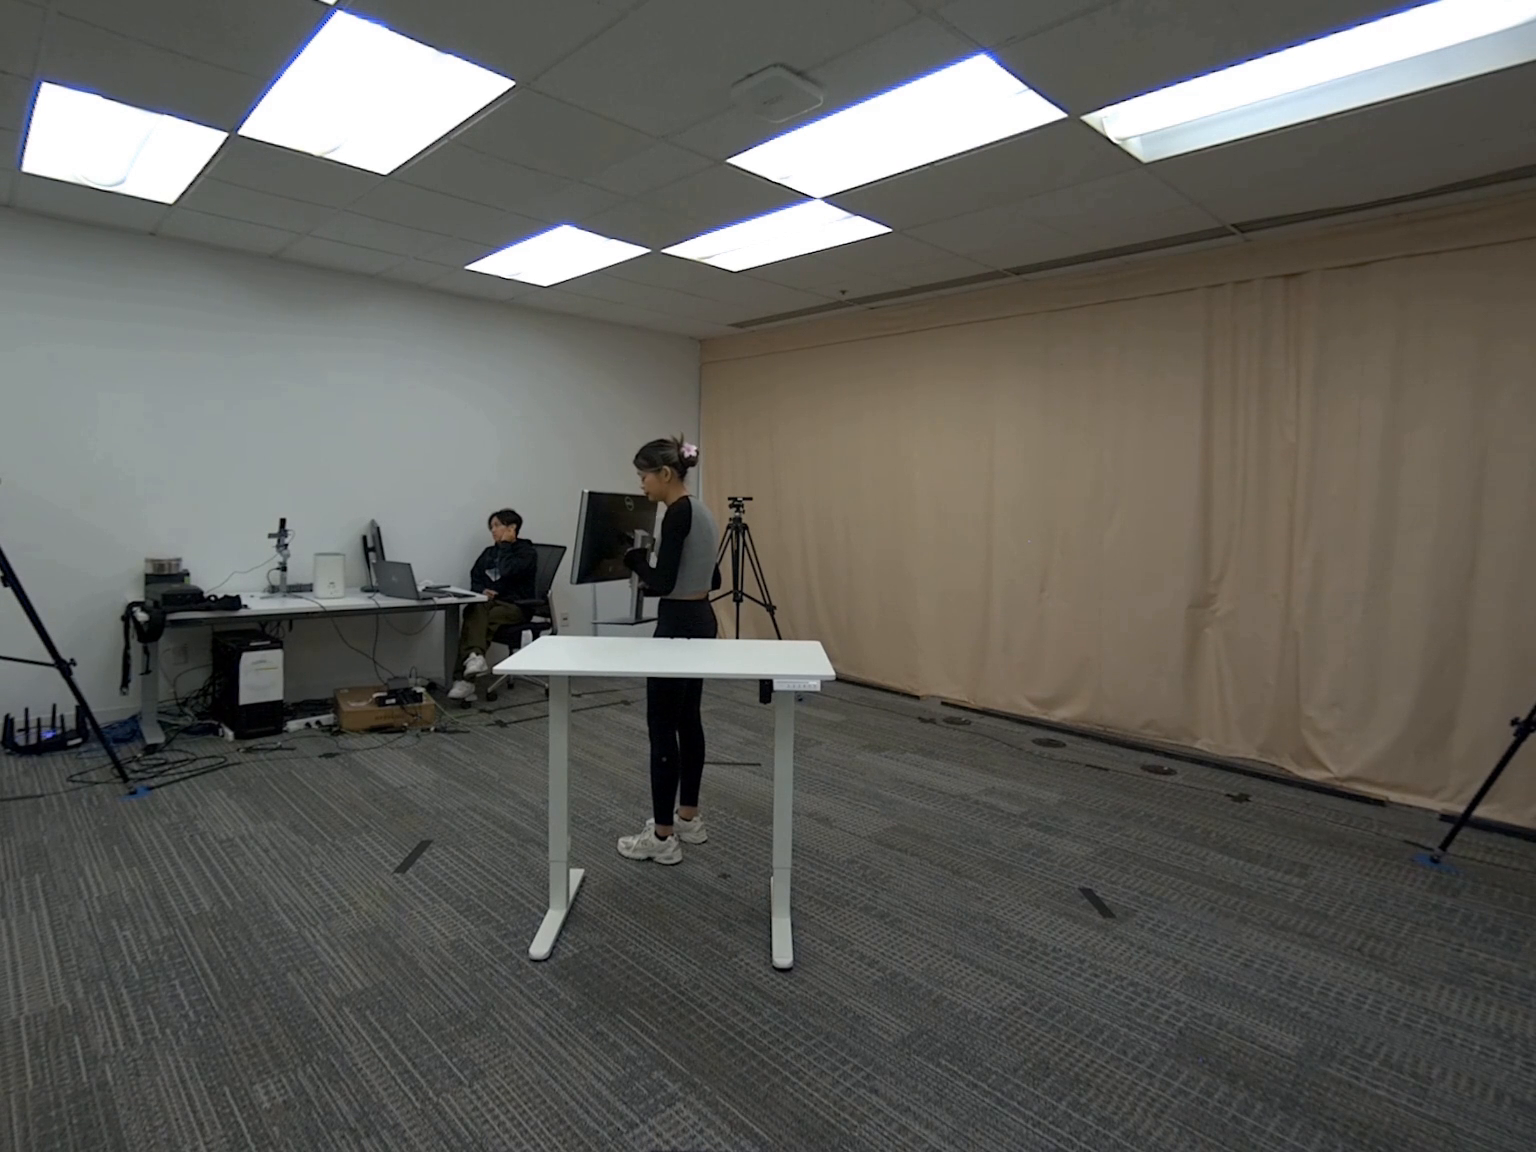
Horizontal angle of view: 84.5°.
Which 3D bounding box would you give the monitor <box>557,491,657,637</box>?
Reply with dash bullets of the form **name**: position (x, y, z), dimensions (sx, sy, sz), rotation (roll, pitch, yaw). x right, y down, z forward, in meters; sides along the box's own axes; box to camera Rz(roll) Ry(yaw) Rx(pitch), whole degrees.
- **monitor**: position (-0.574, -0.071, 3.417), dimensions (0.190, 0.522, 0.530), rotation (-2, 1, 22)
